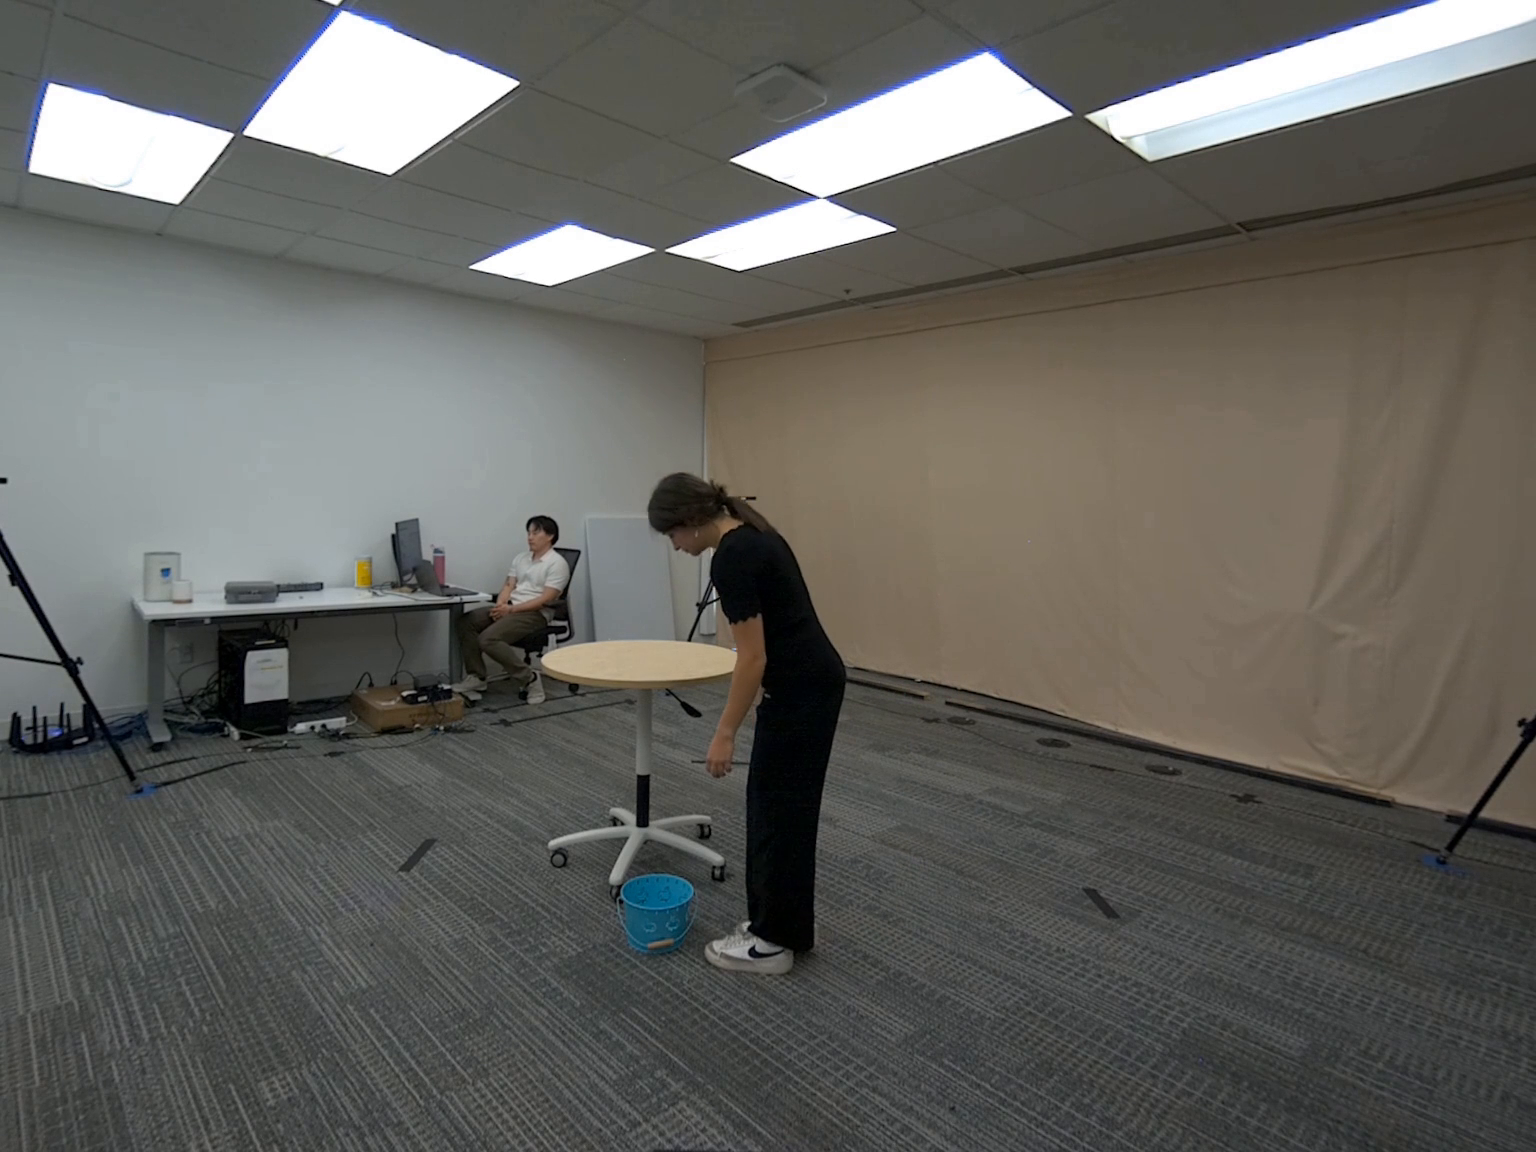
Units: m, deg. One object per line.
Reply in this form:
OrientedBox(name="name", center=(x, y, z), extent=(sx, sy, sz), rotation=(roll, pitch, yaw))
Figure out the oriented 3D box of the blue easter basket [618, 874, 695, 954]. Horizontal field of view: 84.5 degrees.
OrientedBox(name="blue easter basket", center=(-0.356, 1.065, 2.656), extent=(0.243, 0.155, 0.244), rotation=(1, 5, -1))
